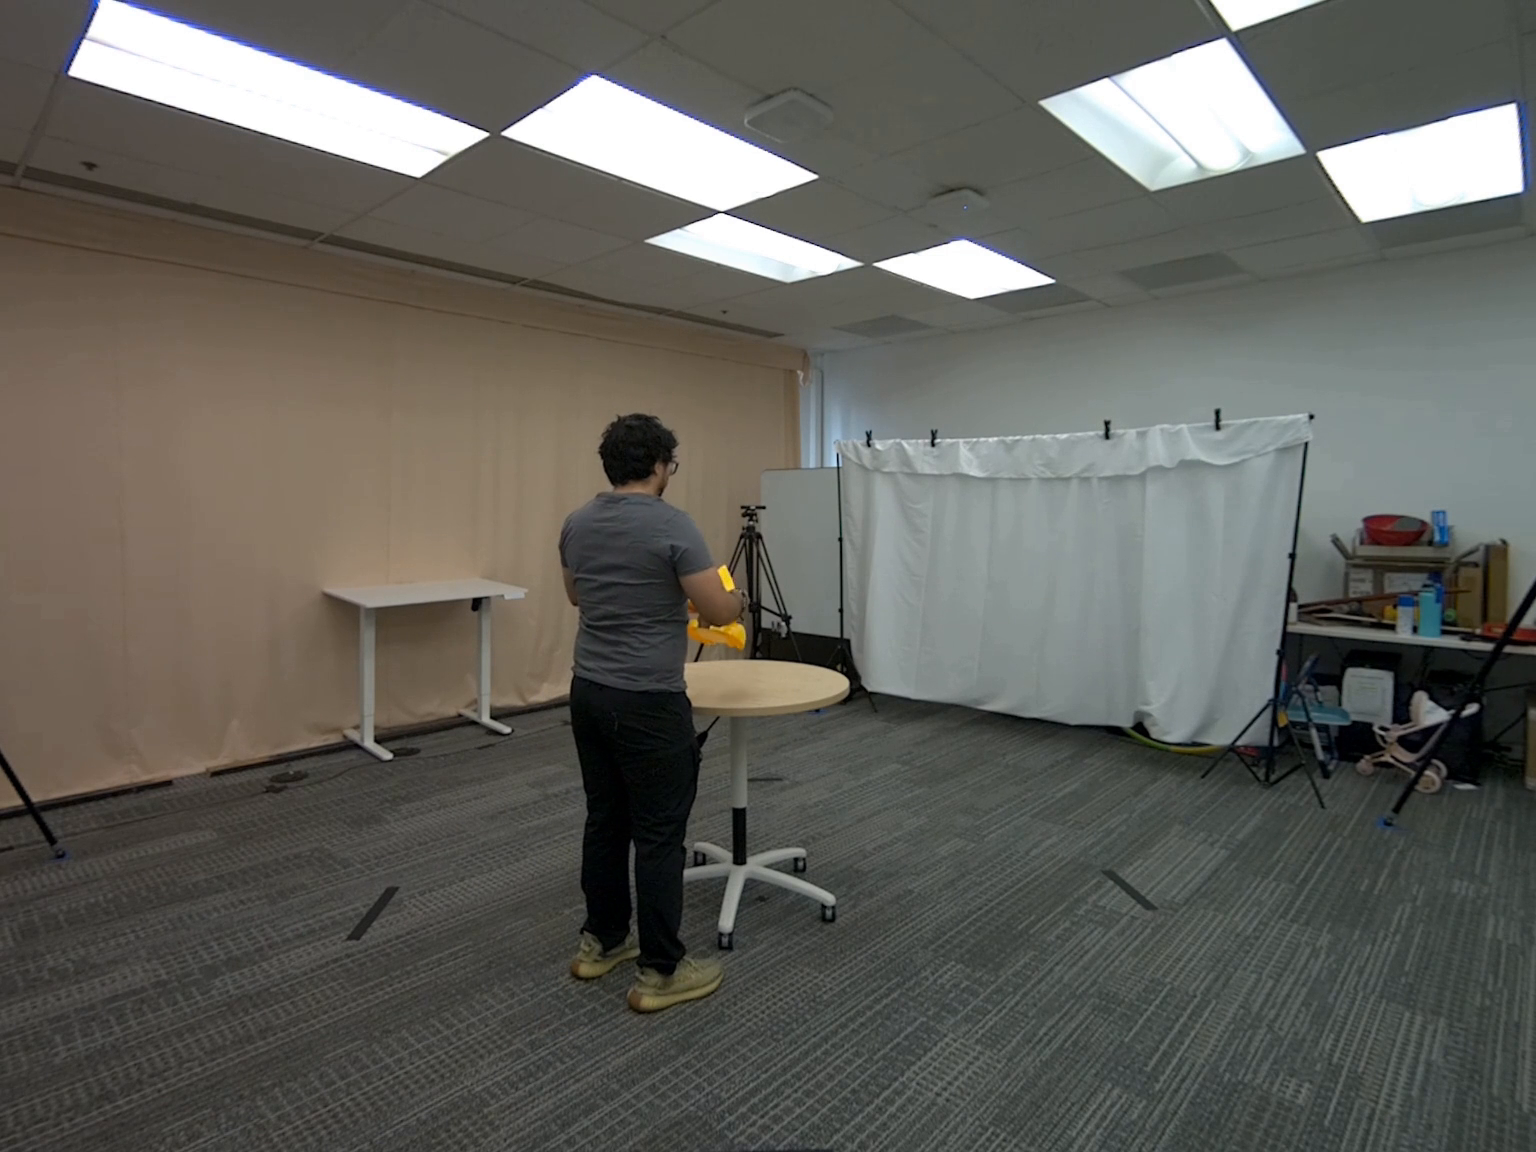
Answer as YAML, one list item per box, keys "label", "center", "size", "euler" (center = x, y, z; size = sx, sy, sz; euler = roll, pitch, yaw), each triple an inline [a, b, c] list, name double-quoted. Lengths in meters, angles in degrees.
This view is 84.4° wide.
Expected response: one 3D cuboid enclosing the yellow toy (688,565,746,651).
- label: "yellow toy"
  center: [-0.144, 0.094, 2.760]
  size: [0.211, 0.232, 0.186]
  euler: [4, -25, 29]
